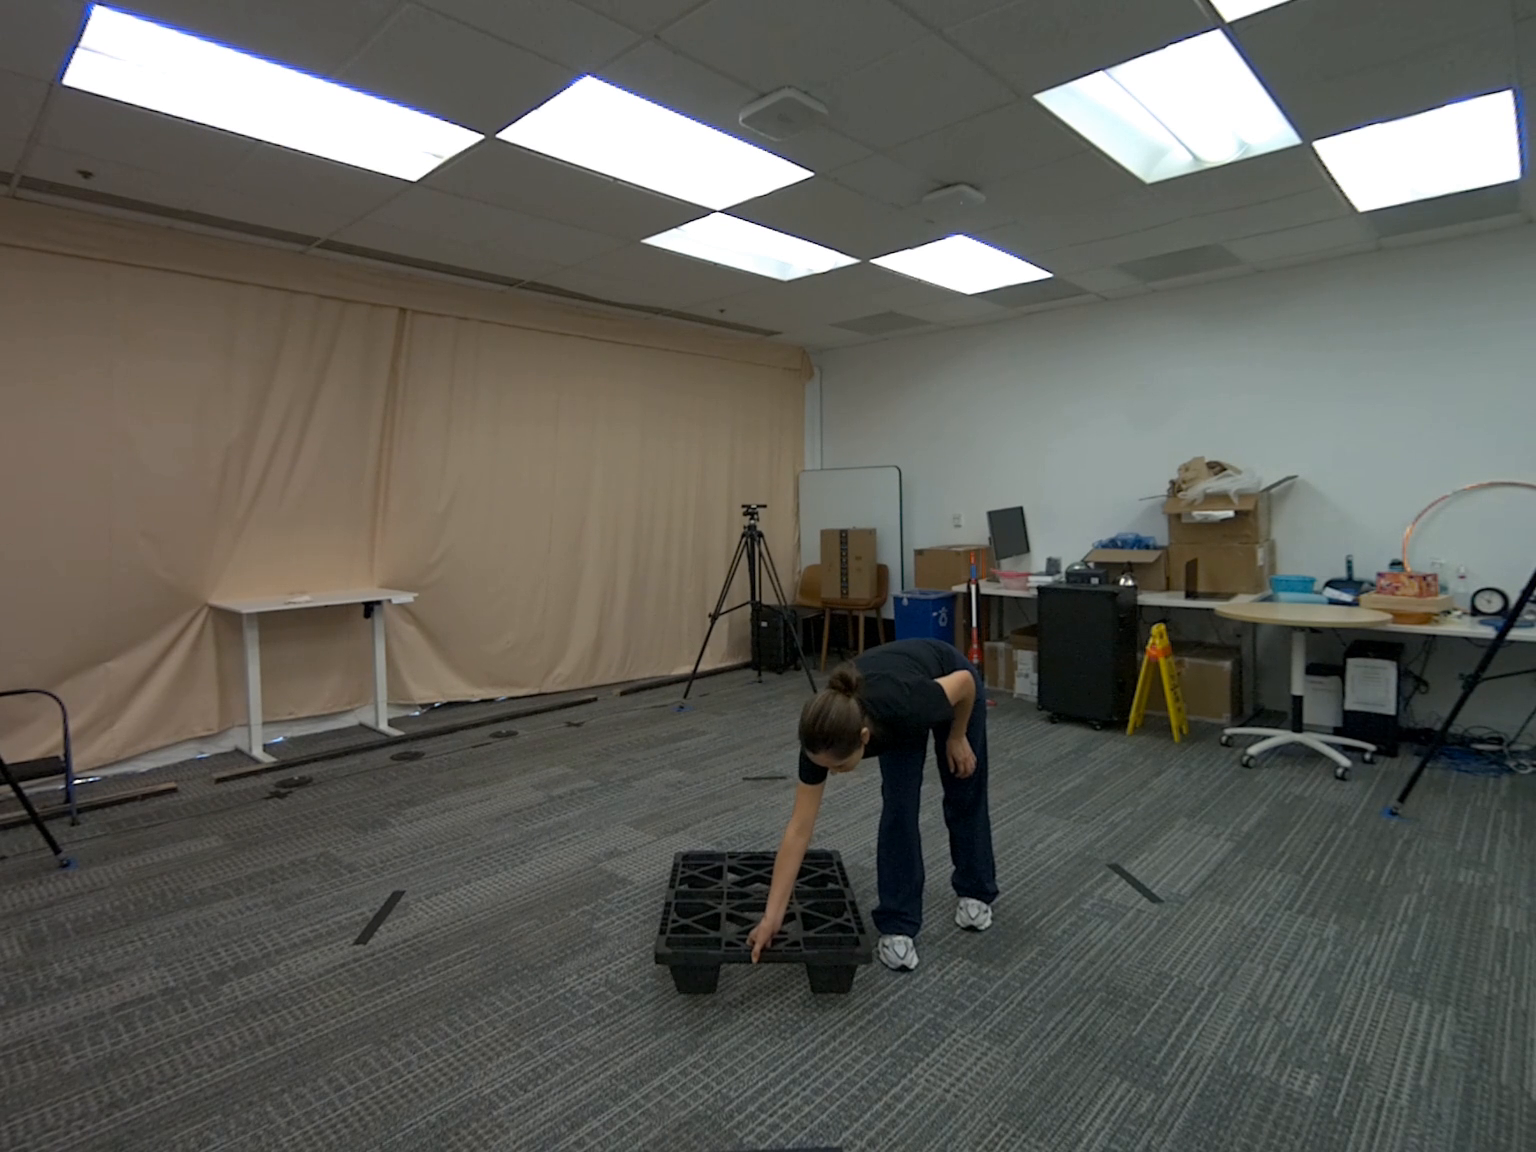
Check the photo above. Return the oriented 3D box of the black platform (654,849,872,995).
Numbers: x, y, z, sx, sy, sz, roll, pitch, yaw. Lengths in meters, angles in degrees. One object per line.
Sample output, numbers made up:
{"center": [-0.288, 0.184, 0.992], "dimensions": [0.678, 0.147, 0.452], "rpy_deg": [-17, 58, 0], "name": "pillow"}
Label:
{"center": [-0.011, 1.075, 2.676], "dimensions": [0.605, 0.143, 0.806], "rpy_deg": [-2, 1, -1], "name": "black platform"}
